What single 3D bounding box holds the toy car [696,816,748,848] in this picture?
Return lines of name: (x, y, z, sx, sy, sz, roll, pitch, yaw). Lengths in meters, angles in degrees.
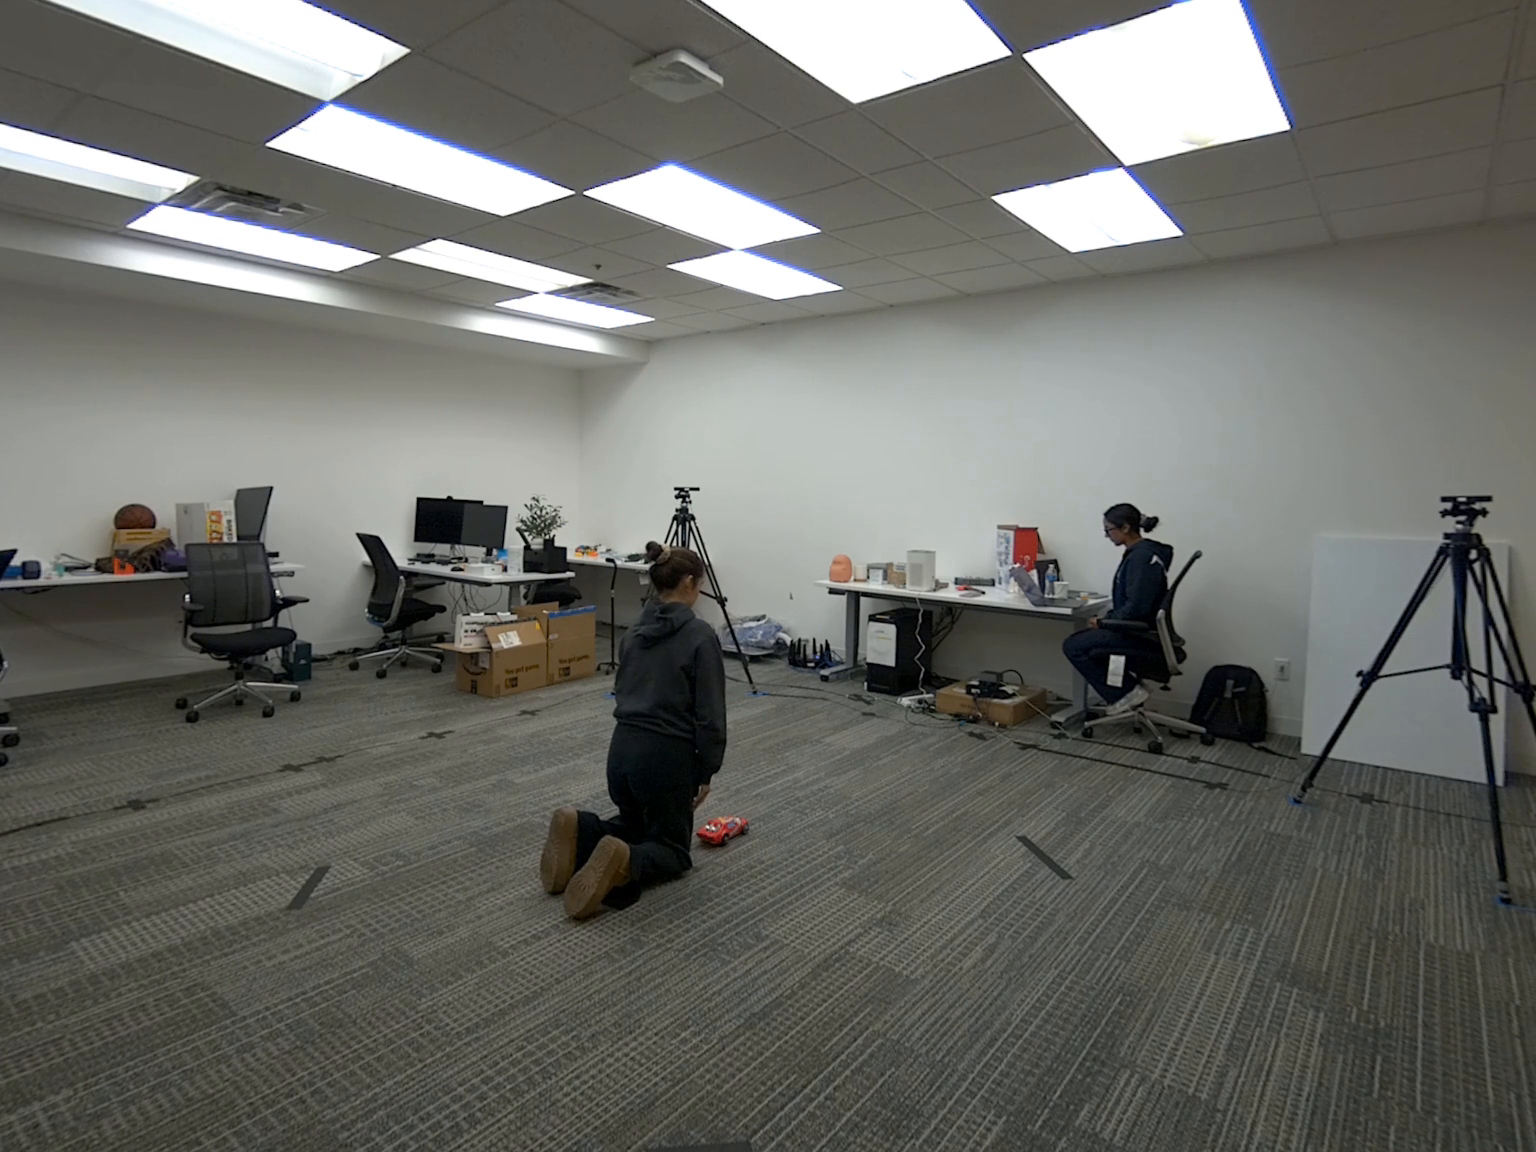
toy car: (-0.184, 1.006, 3.380, 0.134, 0.083, 0.245, 4, -5, 34)
